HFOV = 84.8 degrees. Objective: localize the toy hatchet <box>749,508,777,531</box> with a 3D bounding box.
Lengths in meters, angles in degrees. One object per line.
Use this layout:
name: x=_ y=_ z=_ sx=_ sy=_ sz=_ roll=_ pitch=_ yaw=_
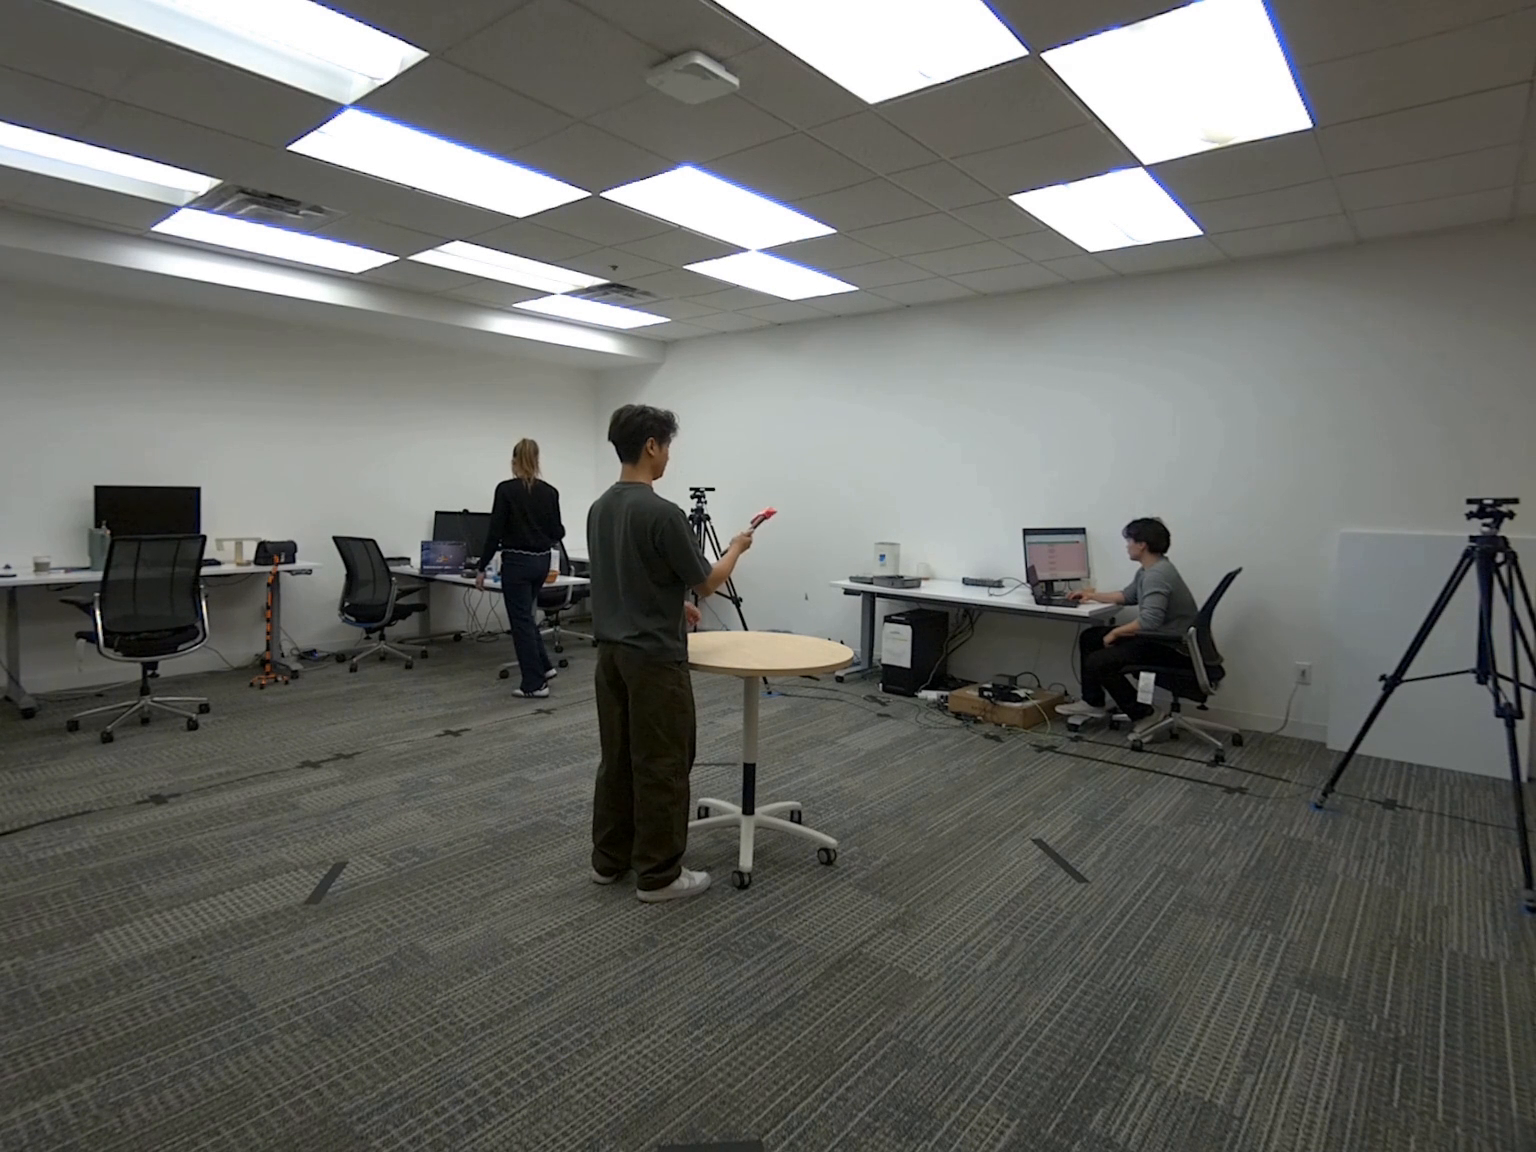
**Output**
toy hatchet: x=-0.101 y=-0.170 z=3.157 sx=0.269 sy=0.029 sz=0.134 roll=-40 pitch=18 yaw=-8
